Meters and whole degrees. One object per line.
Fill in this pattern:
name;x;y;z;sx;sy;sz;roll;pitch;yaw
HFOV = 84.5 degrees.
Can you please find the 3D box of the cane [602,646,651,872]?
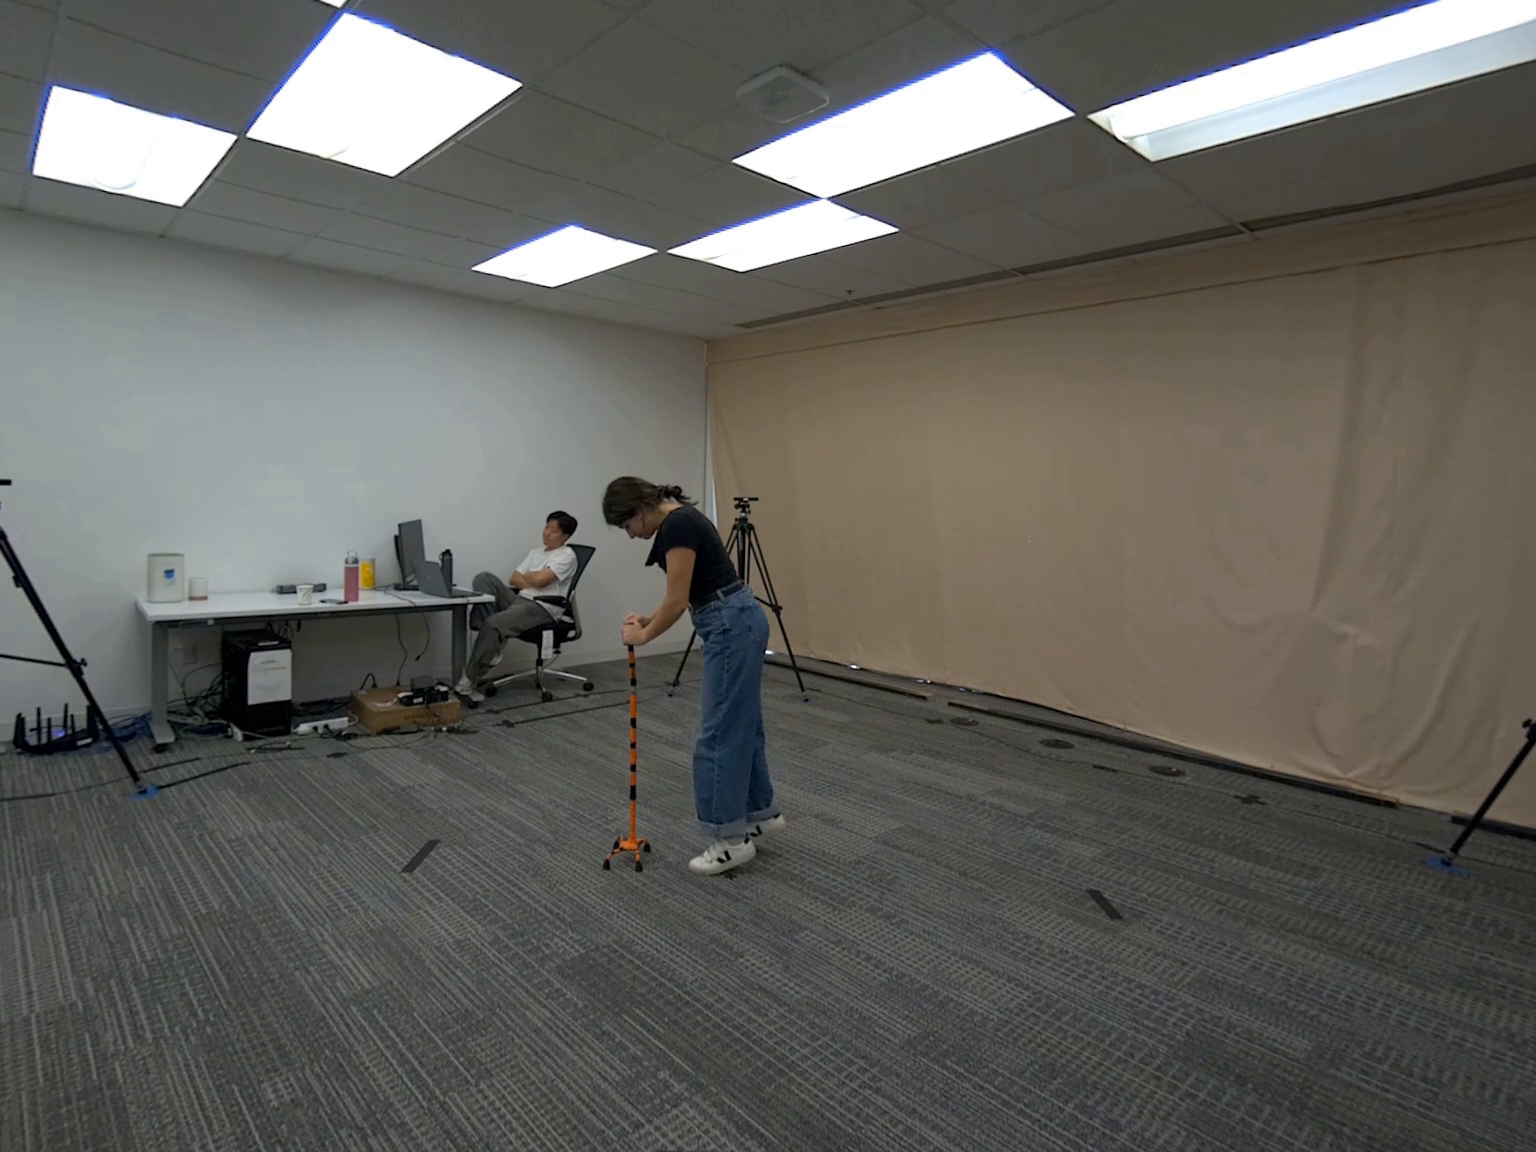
cane;-0.534;0.630;3.204;0.152;0.906;0.206;1;3;3
